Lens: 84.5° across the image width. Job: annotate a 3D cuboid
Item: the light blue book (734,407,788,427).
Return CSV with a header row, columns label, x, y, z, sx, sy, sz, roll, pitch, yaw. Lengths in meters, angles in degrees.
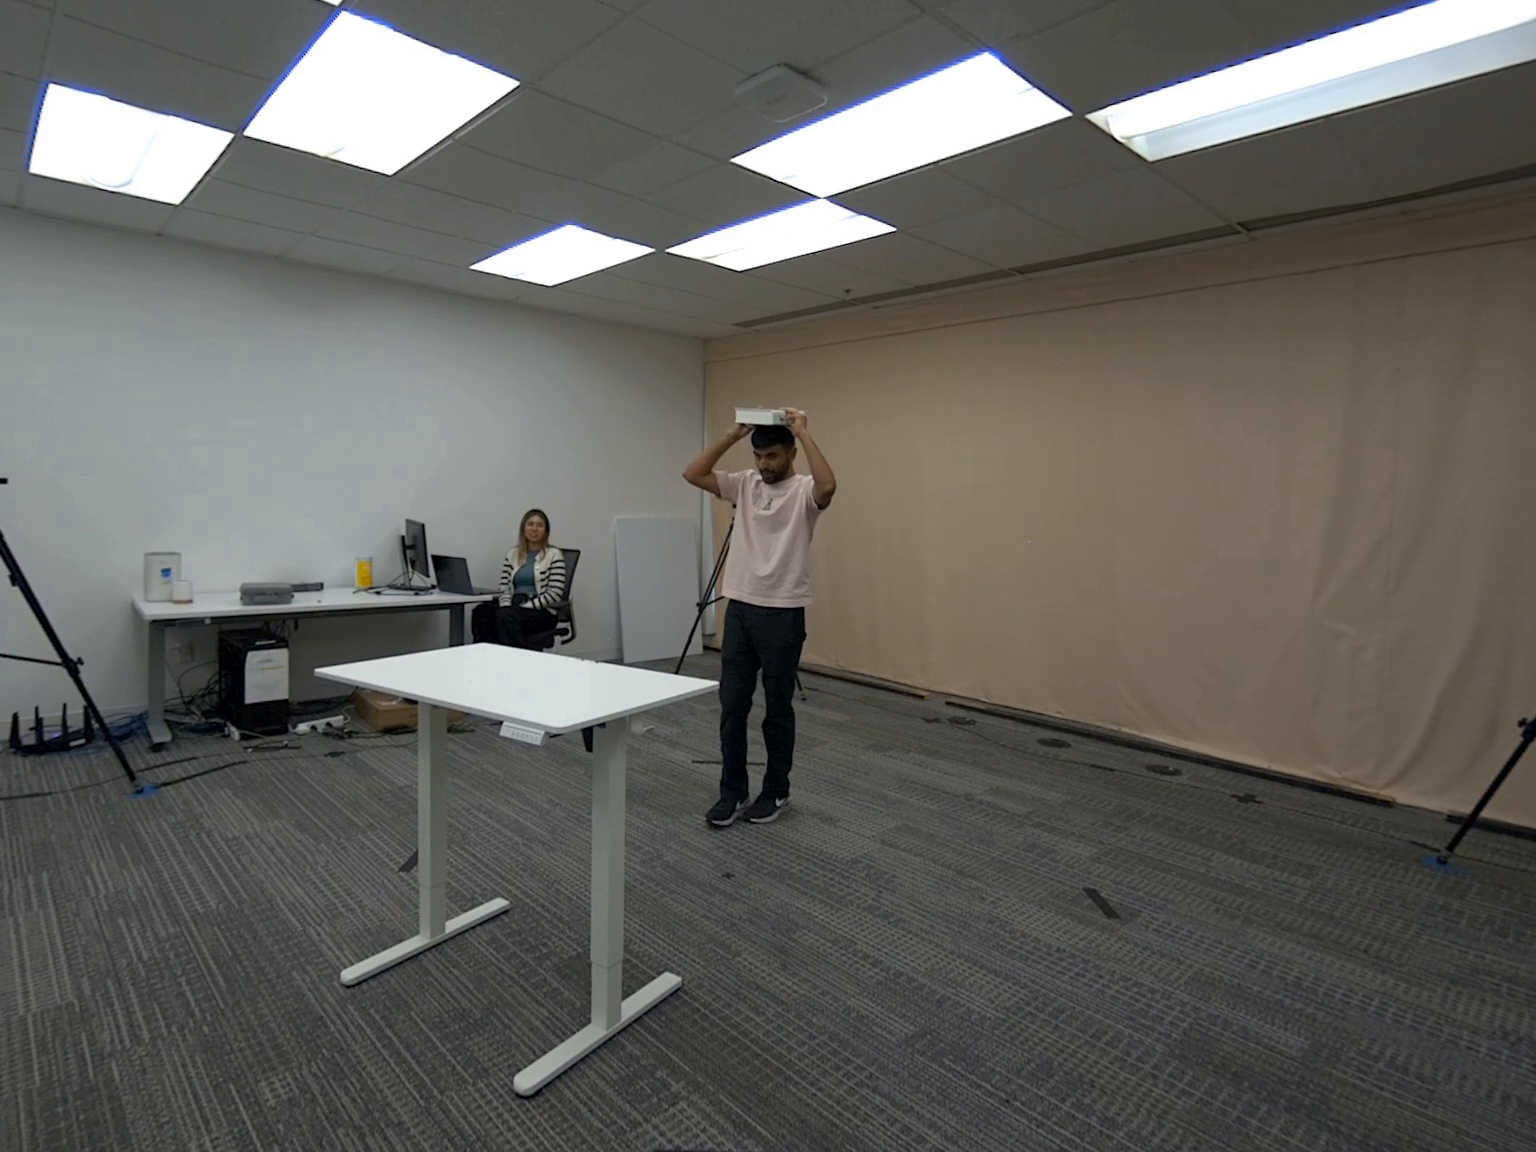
label,x,y,z,sx,sy,sz,roll,pitch,yaw
light blue book,0.012,-0.664,3.521,0.196,0.058,0.256,12,16,36
